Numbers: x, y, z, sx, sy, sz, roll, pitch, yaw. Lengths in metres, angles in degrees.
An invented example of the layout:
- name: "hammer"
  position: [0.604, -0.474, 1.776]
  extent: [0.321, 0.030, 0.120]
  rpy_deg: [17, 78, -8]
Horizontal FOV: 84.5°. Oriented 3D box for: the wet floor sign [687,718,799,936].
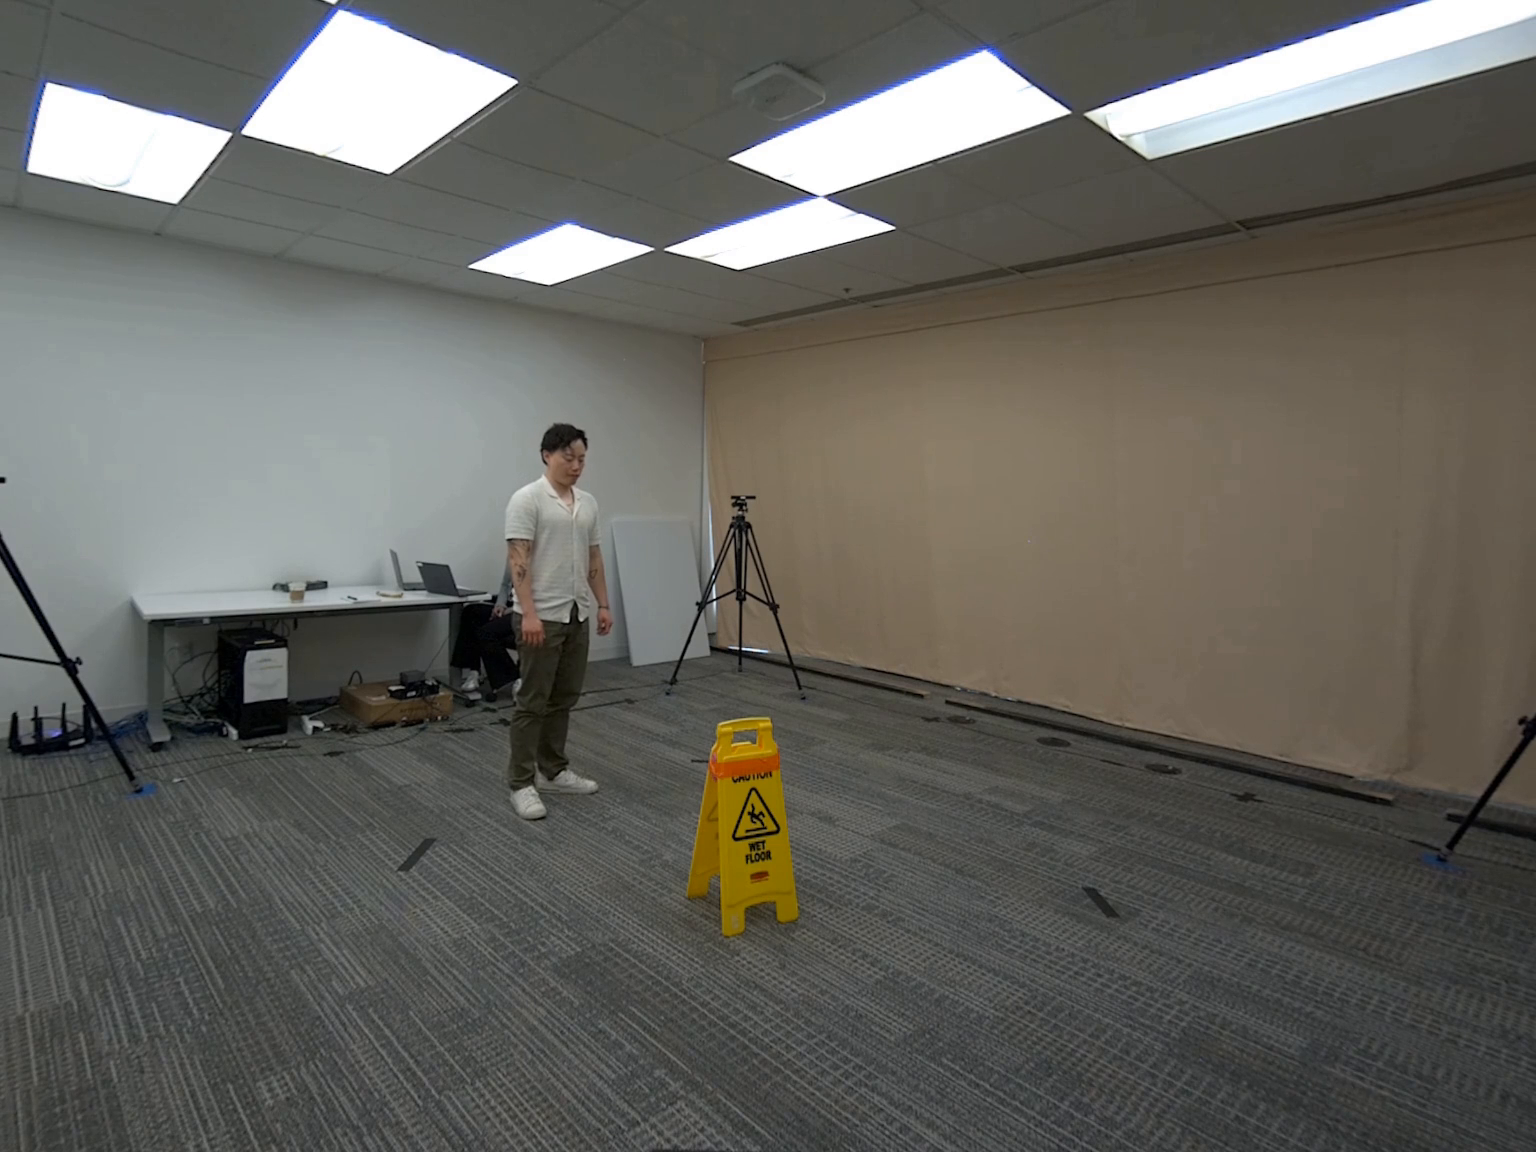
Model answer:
- name: "wet floor sign"
  position: [-0.092, 0.804, 2.833]
  extent: [0.277, 0.645, 0.296]
  rpy_deg: [0, 4, -29]
